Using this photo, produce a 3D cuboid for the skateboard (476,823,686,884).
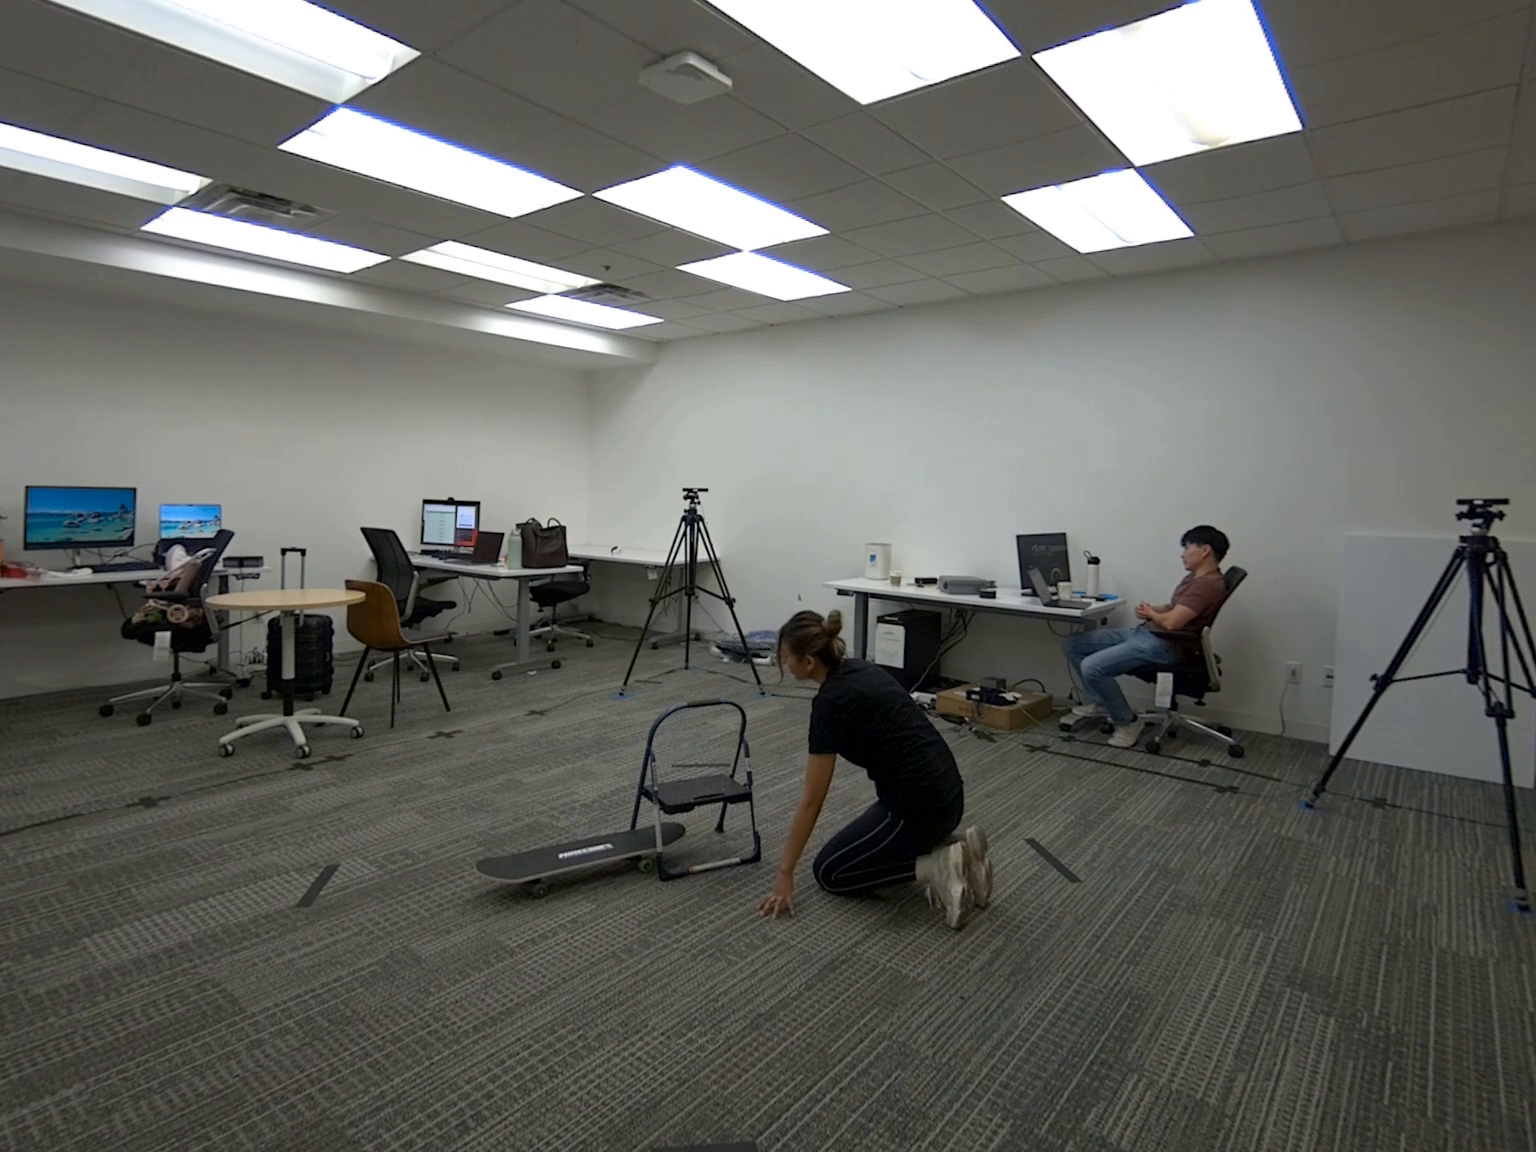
[{"bbox_3d":[-0.659,1.012,3.041,0.765,0.110,0.199,-3,7,-30],"label":"skateboard"}]
